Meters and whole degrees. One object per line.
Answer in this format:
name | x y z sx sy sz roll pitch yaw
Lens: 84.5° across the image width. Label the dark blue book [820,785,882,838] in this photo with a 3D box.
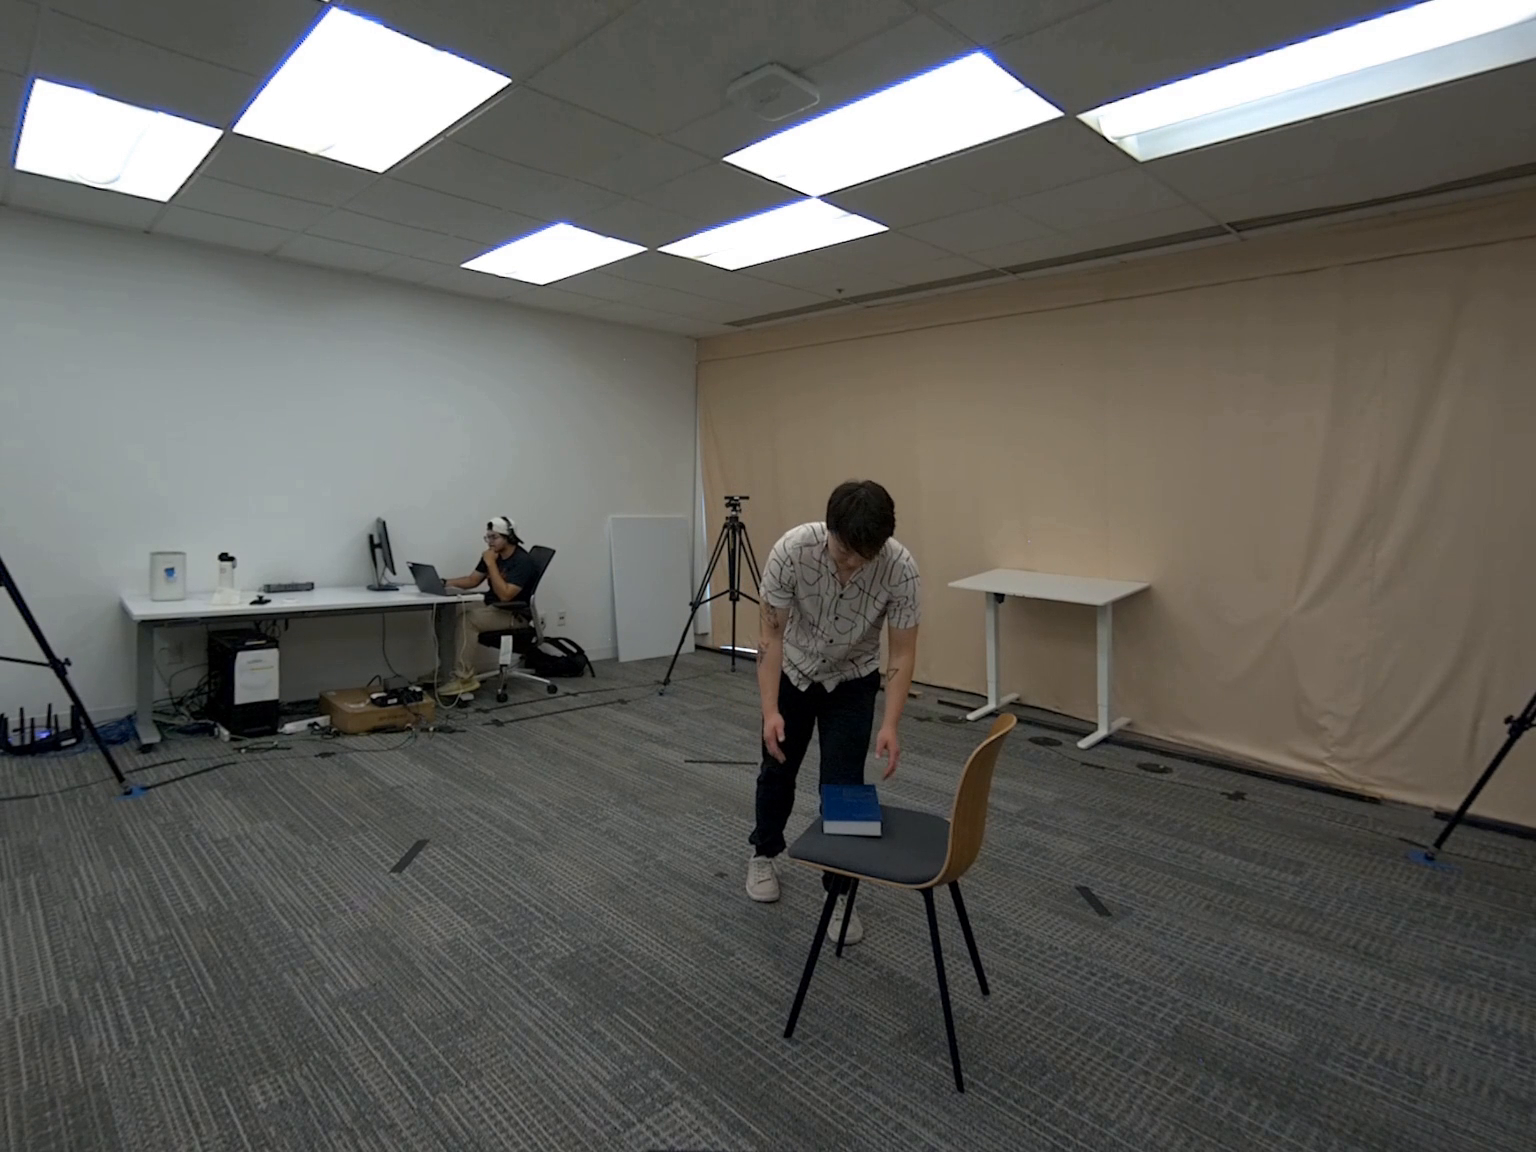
dark blue book | 0.225 0.669 2.404 0.164 0.045 0.245 0 8 6
